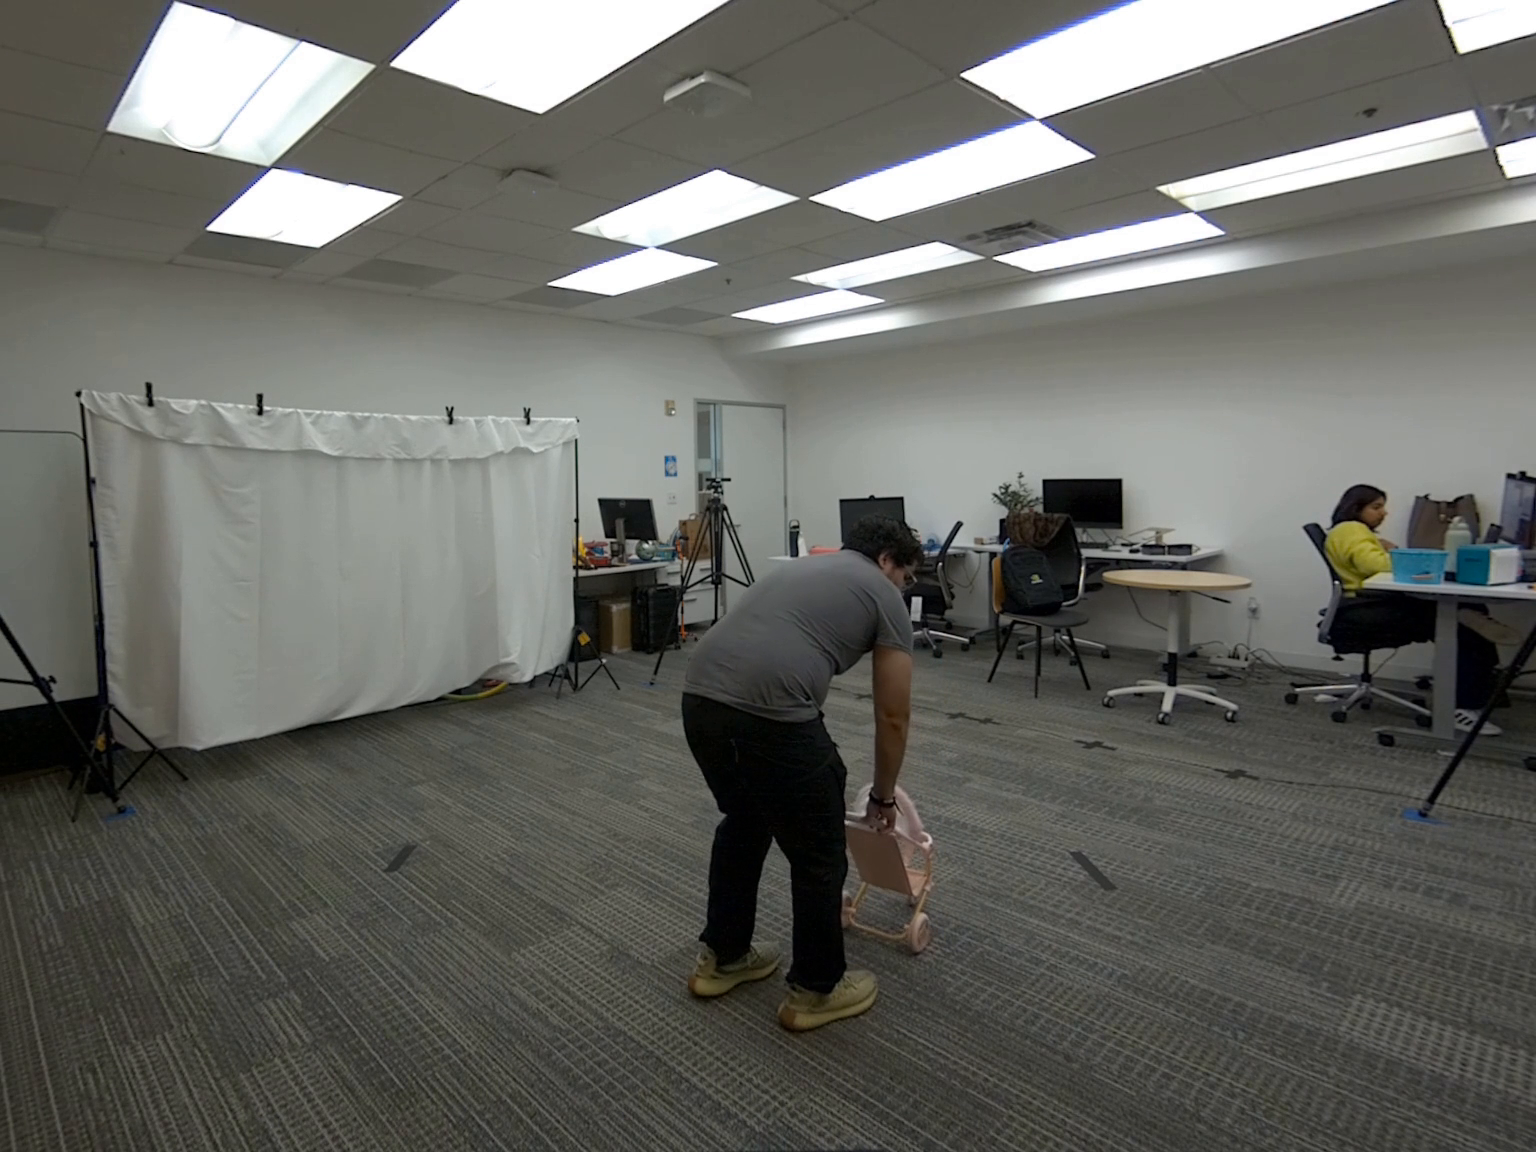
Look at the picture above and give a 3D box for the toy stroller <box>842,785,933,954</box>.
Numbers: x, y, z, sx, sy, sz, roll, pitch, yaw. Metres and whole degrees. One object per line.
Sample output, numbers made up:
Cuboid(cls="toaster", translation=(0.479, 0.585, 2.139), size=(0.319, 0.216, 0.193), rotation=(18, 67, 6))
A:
Cuboid(cls="toy stroller", translation=(0.378, 0.868, 2.620), size=(0.290, 0.526, 0.337), rotation=(2, 21, 38))
